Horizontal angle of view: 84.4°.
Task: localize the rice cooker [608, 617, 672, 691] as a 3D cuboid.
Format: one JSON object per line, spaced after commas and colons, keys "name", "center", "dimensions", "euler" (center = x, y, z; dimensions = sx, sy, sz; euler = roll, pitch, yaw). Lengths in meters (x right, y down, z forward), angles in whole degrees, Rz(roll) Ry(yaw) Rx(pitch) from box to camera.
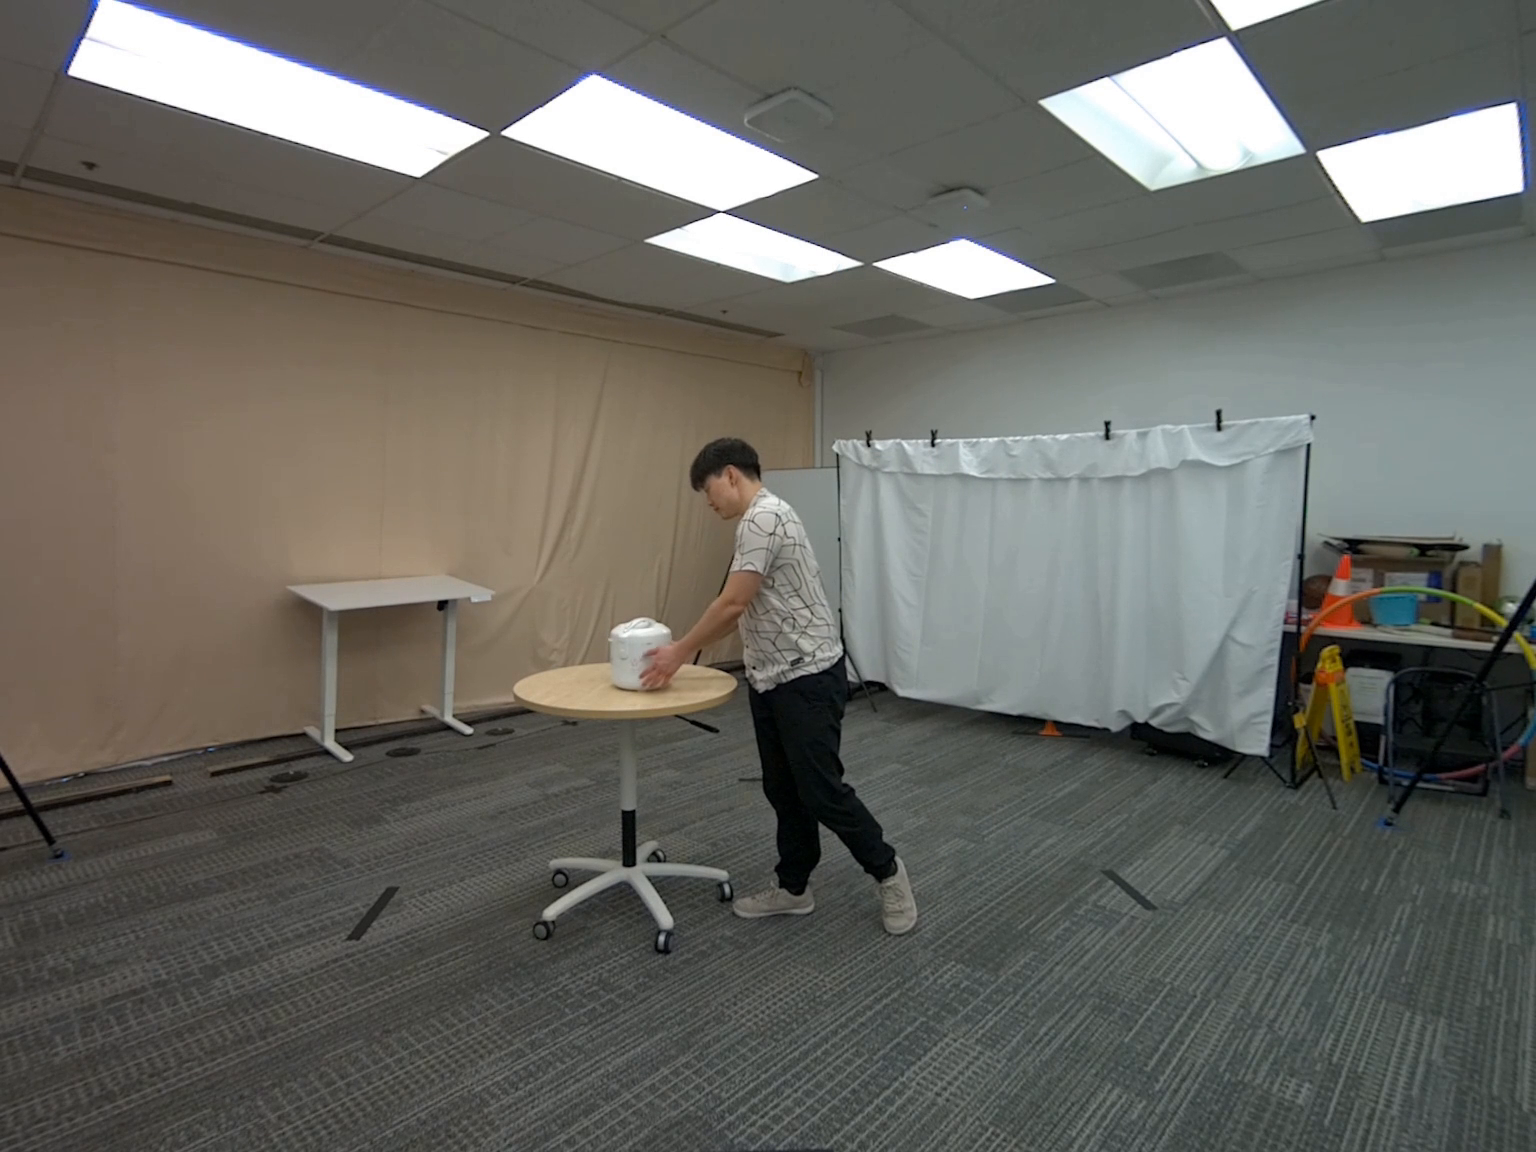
{"name": "rice cooker", "center": [-0.426, 0.261, 2.865], "dimensions": [0.223, 0.232, 0.215], "euler": [1, 5, 28]}
